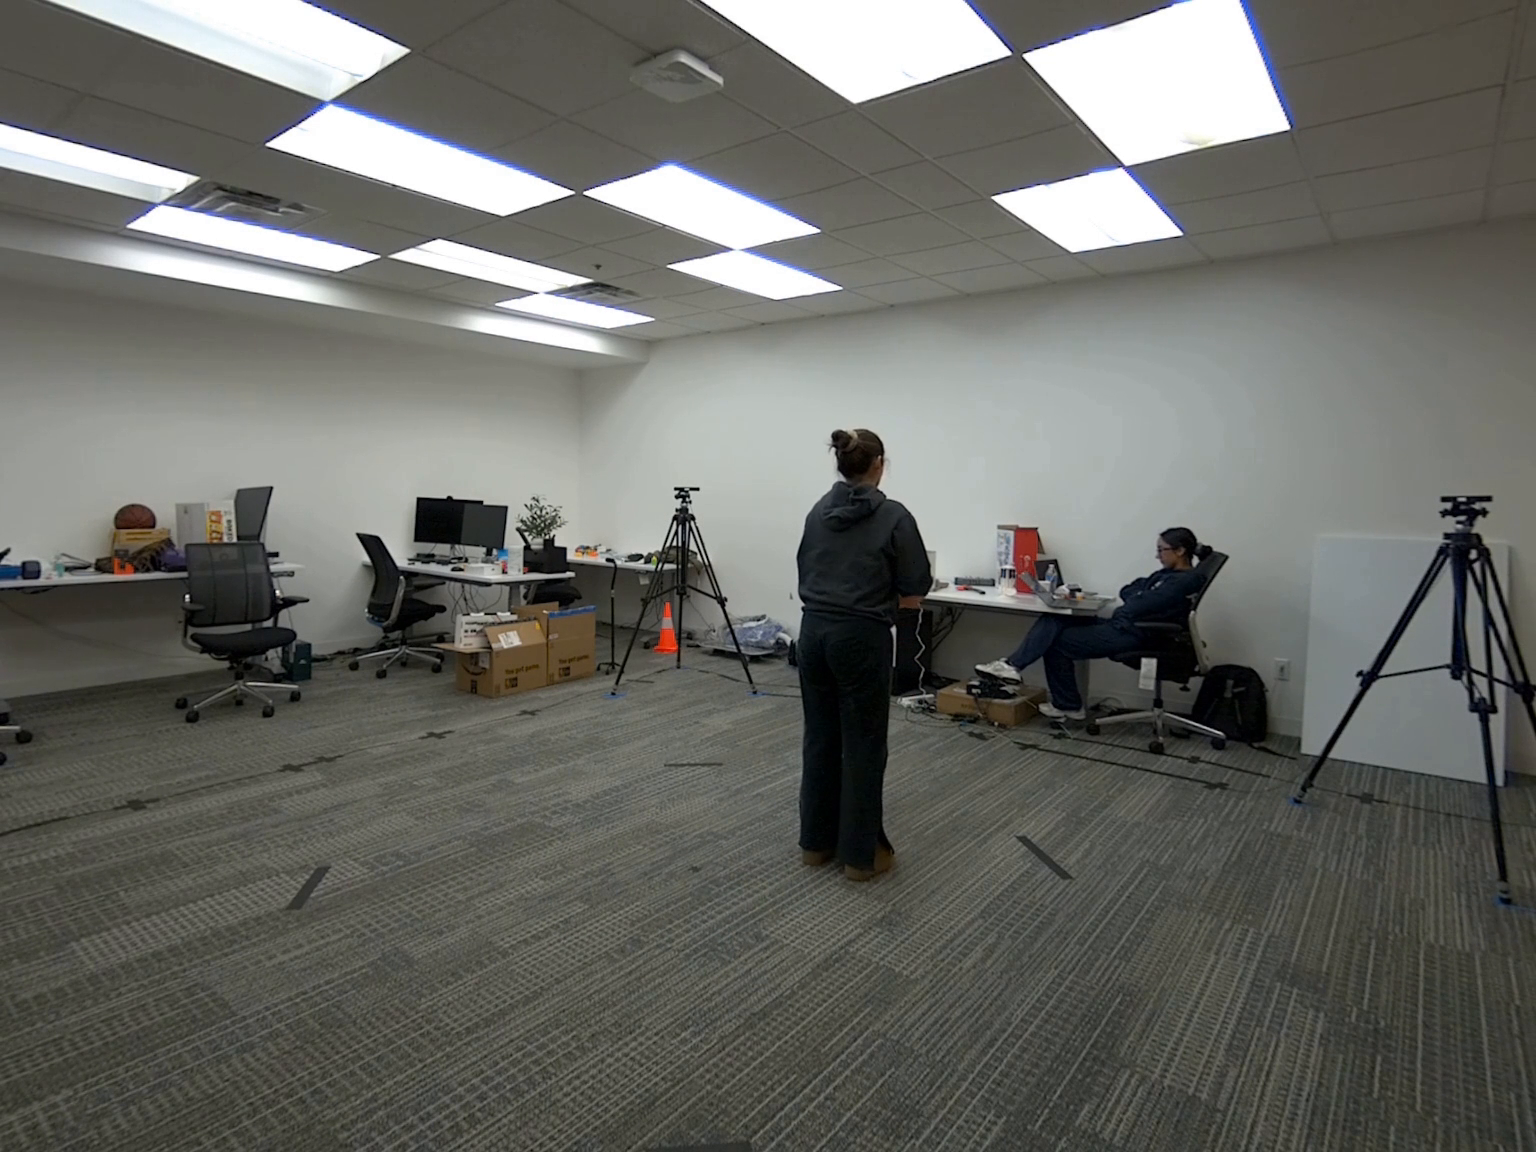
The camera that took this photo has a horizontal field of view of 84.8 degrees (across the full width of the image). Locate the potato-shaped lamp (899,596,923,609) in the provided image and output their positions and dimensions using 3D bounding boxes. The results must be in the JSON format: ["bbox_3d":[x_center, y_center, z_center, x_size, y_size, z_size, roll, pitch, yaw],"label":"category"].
[{"bbox_3d":[0.538,0.011,3.385,0.170,0.192,0.171,-37,34,-30],"label":"potato-shaped lamp"}]
